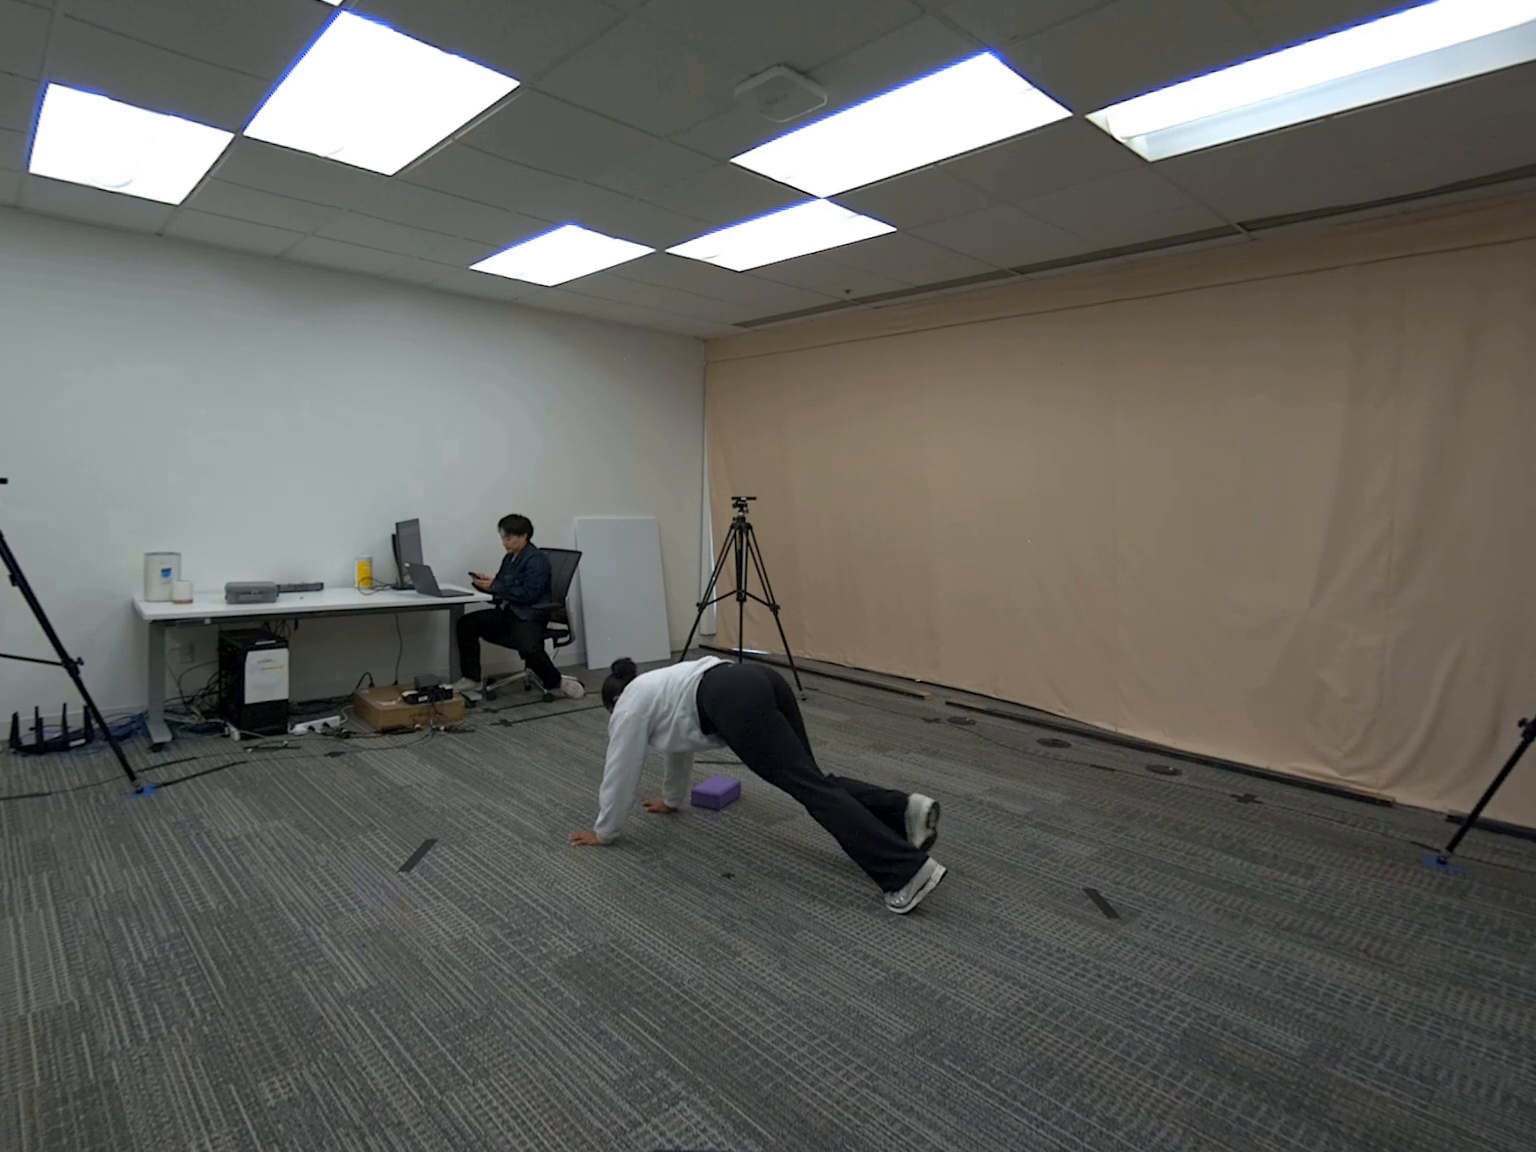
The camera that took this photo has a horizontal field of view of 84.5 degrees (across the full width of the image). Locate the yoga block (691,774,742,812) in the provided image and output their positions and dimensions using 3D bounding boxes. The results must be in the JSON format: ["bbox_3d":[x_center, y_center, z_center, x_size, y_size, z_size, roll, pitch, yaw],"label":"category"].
[{"bbox_3d":[-0.252,0.996,3.883,0.152,0.076,0.225,3,5,26],"label":"yoga block"}]
